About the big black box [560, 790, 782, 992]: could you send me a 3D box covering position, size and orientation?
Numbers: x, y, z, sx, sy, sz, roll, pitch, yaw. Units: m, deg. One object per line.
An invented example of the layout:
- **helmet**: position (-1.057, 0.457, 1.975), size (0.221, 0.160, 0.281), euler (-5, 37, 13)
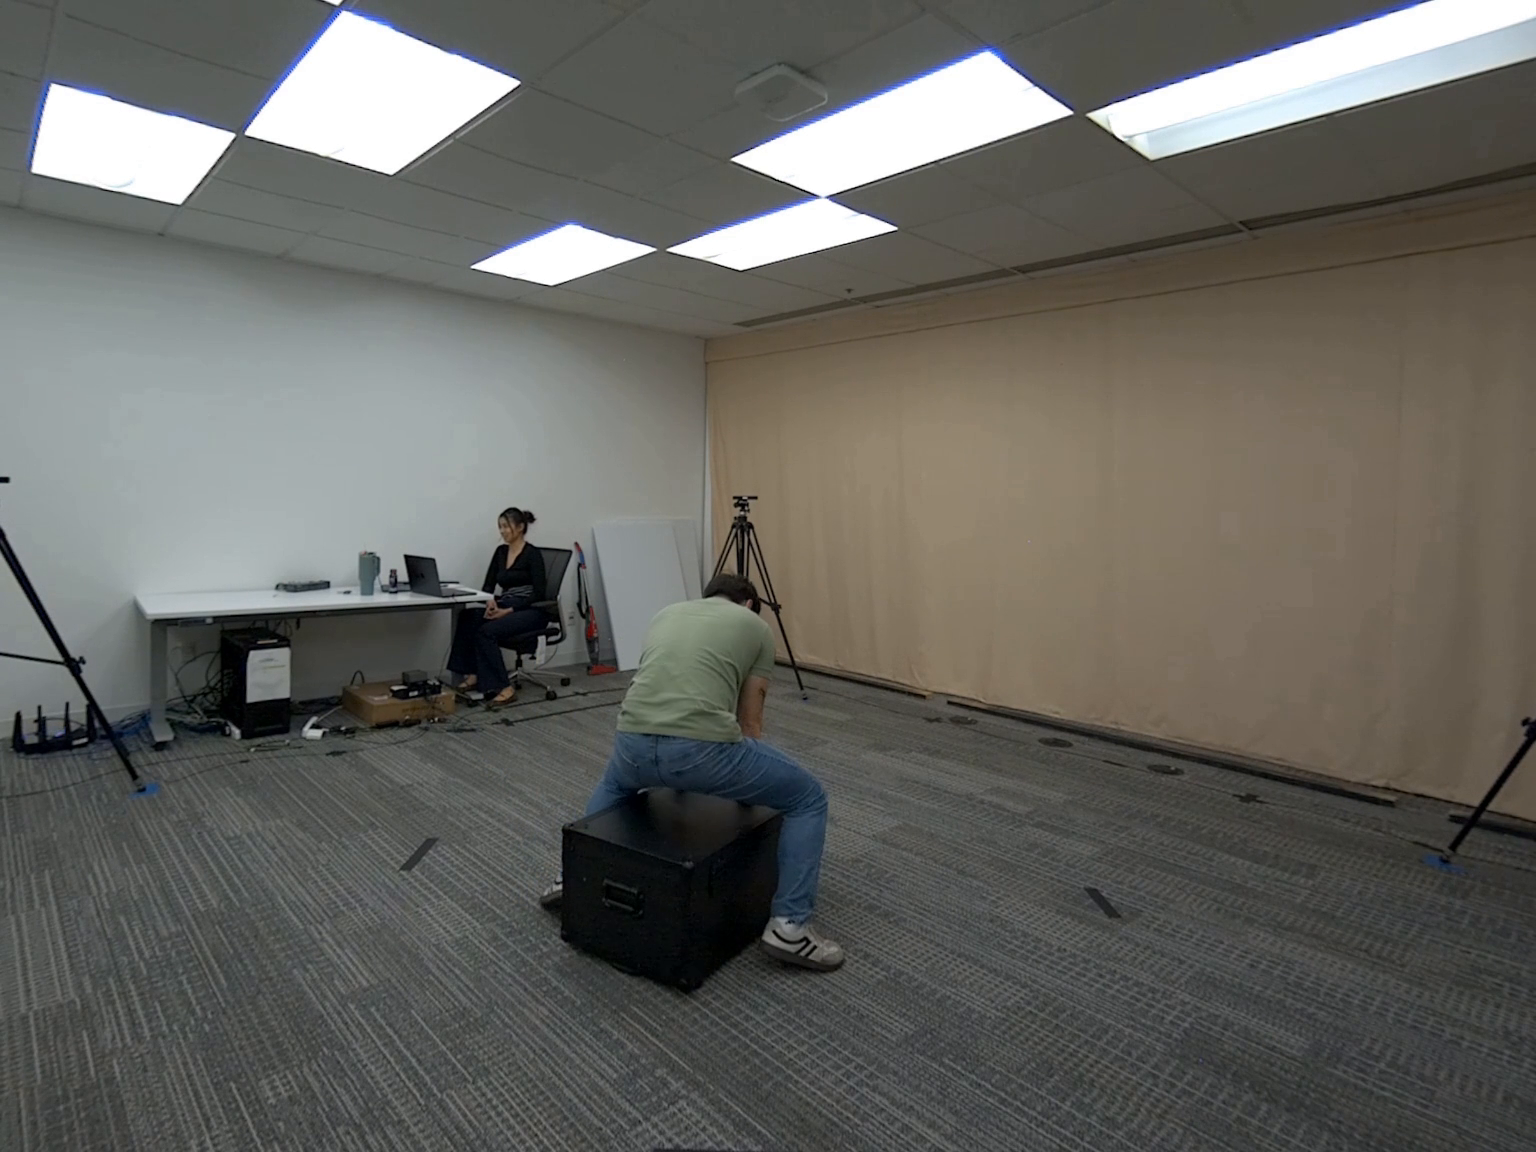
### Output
- **big black box**: position (-0.212, 0.942, 2.785), size (0.533, 0.395, 0.846), euler (4, 6, 30)
